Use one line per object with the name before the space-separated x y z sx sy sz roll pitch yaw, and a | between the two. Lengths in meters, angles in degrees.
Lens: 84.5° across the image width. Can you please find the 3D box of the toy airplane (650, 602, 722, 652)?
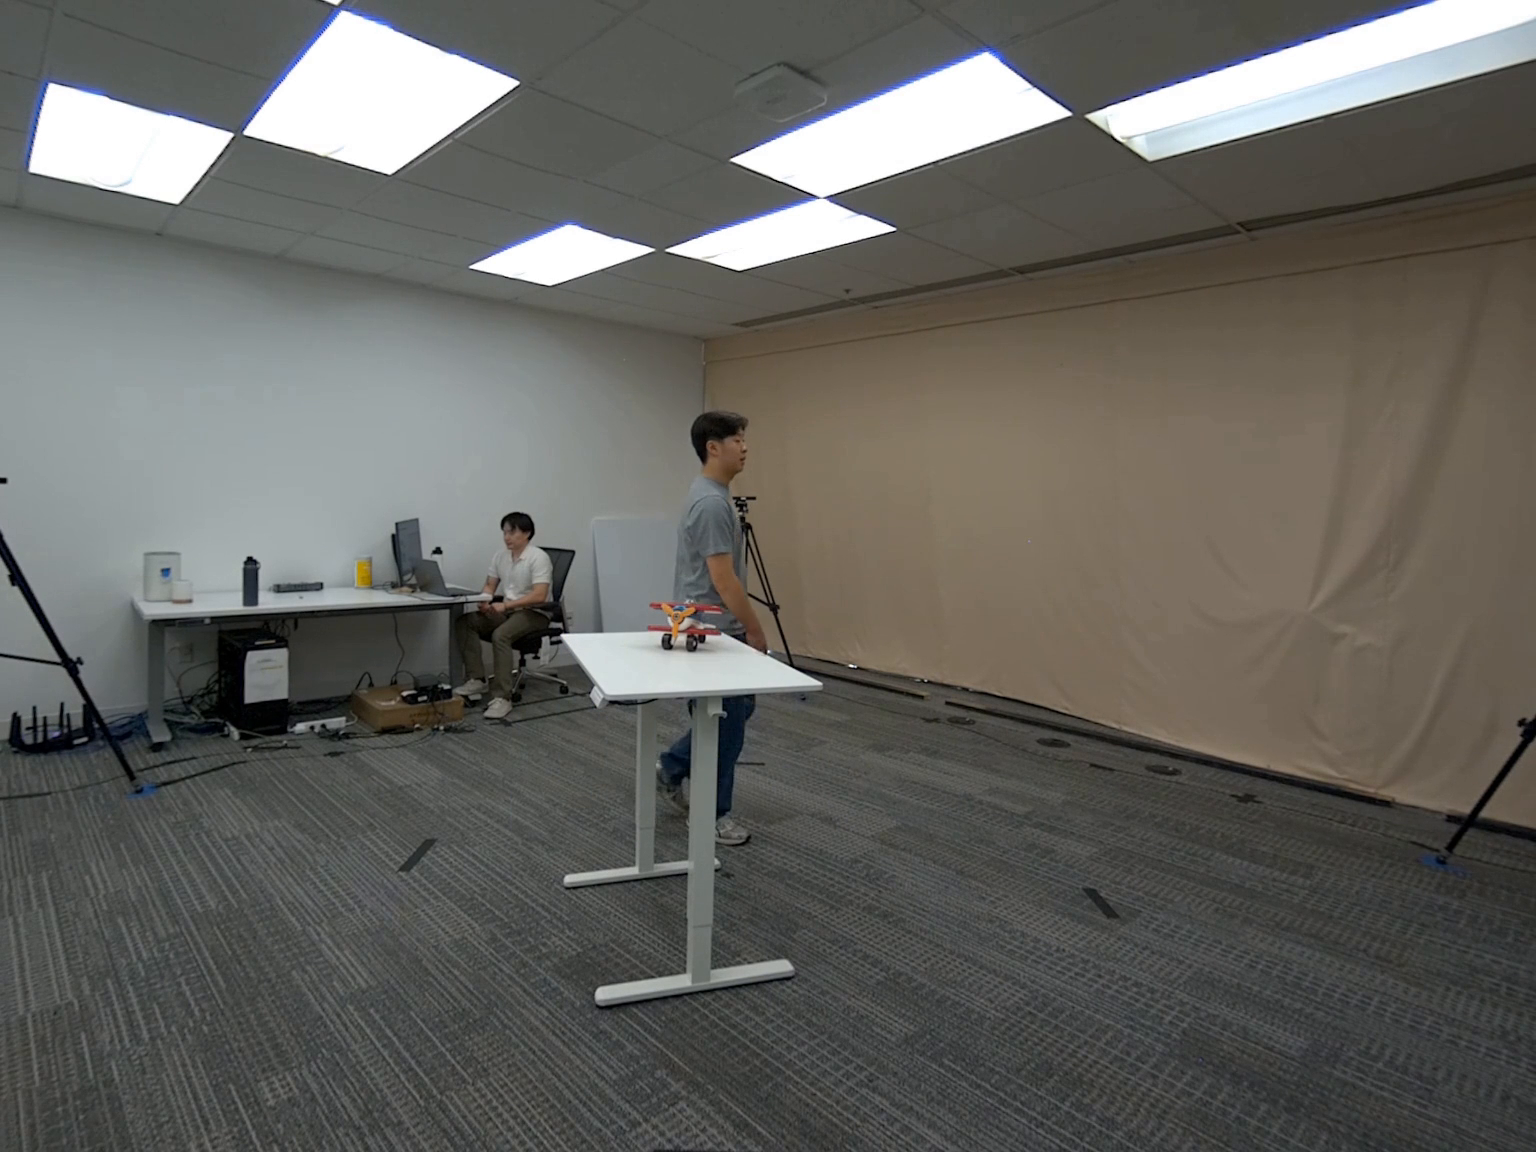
toy airplane | -0.304 0.162 2.872 0.248 0.156 0.263 1 5 -16
